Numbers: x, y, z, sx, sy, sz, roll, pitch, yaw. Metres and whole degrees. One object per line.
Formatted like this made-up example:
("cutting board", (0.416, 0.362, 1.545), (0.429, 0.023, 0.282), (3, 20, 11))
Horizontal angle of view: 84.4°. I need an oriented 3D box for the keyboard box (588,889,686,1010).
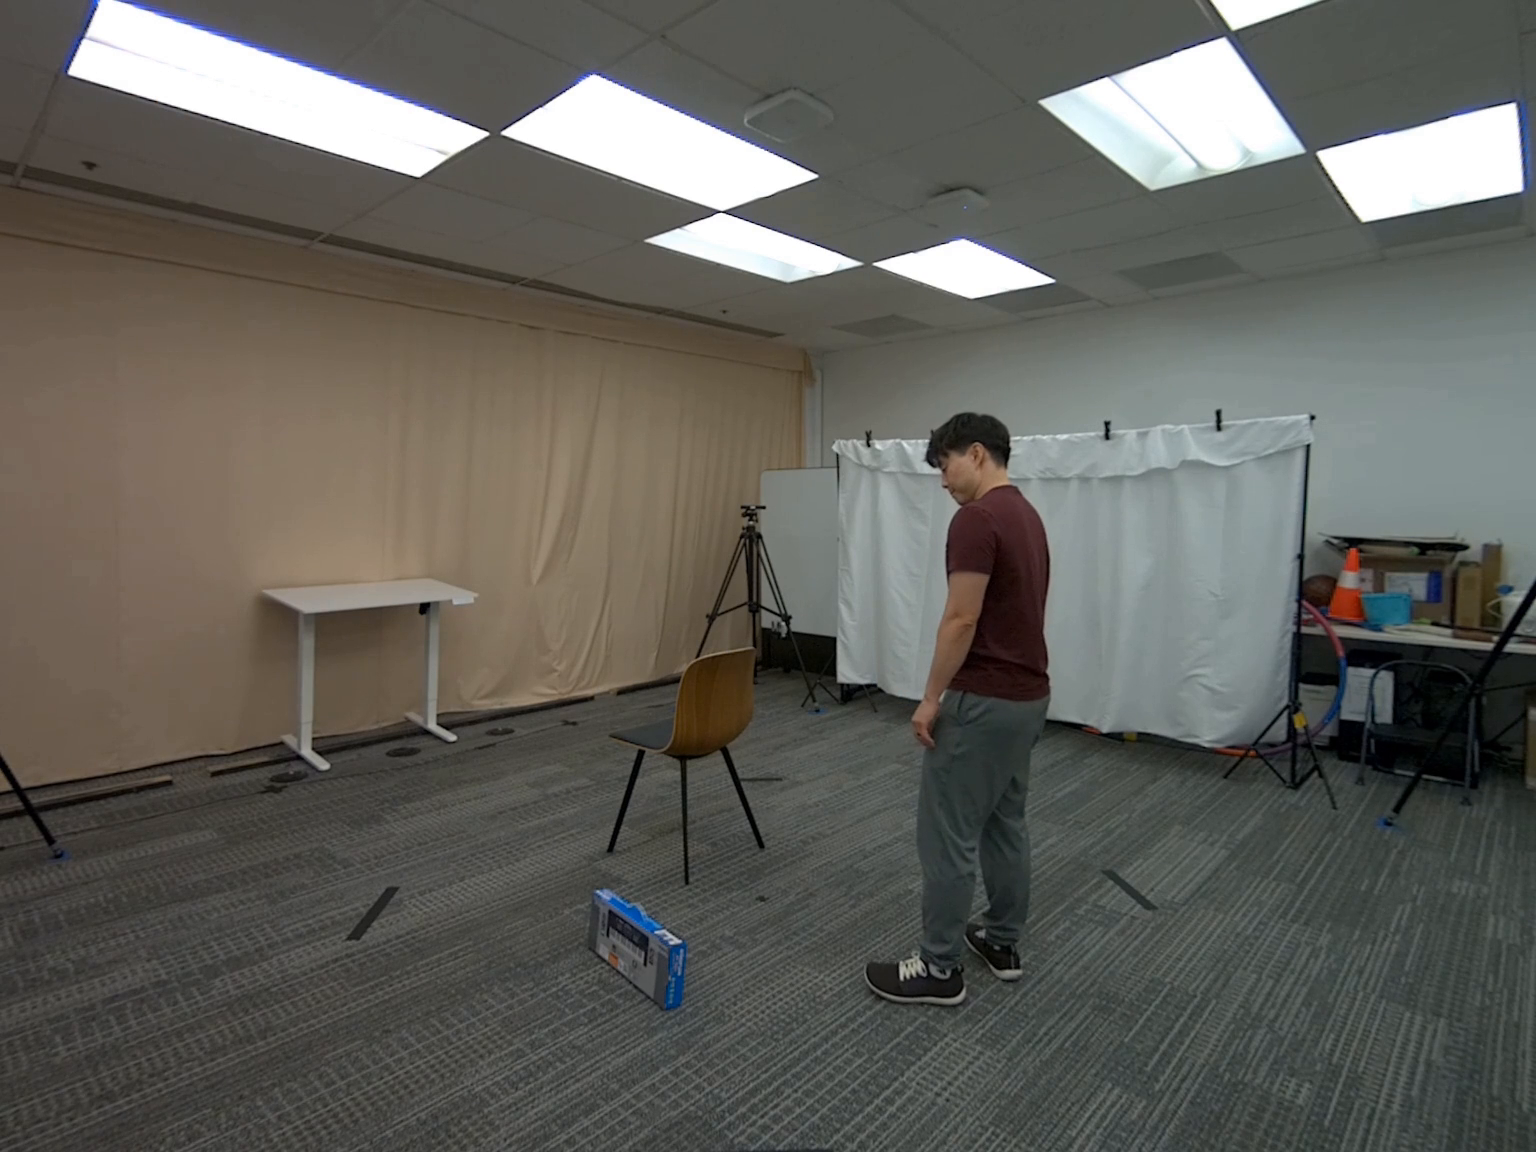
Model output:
("keyboard box", (-0.398, 1.094, 2.506), (0.057, 0.176, 0.451), (6, 0, -39))
